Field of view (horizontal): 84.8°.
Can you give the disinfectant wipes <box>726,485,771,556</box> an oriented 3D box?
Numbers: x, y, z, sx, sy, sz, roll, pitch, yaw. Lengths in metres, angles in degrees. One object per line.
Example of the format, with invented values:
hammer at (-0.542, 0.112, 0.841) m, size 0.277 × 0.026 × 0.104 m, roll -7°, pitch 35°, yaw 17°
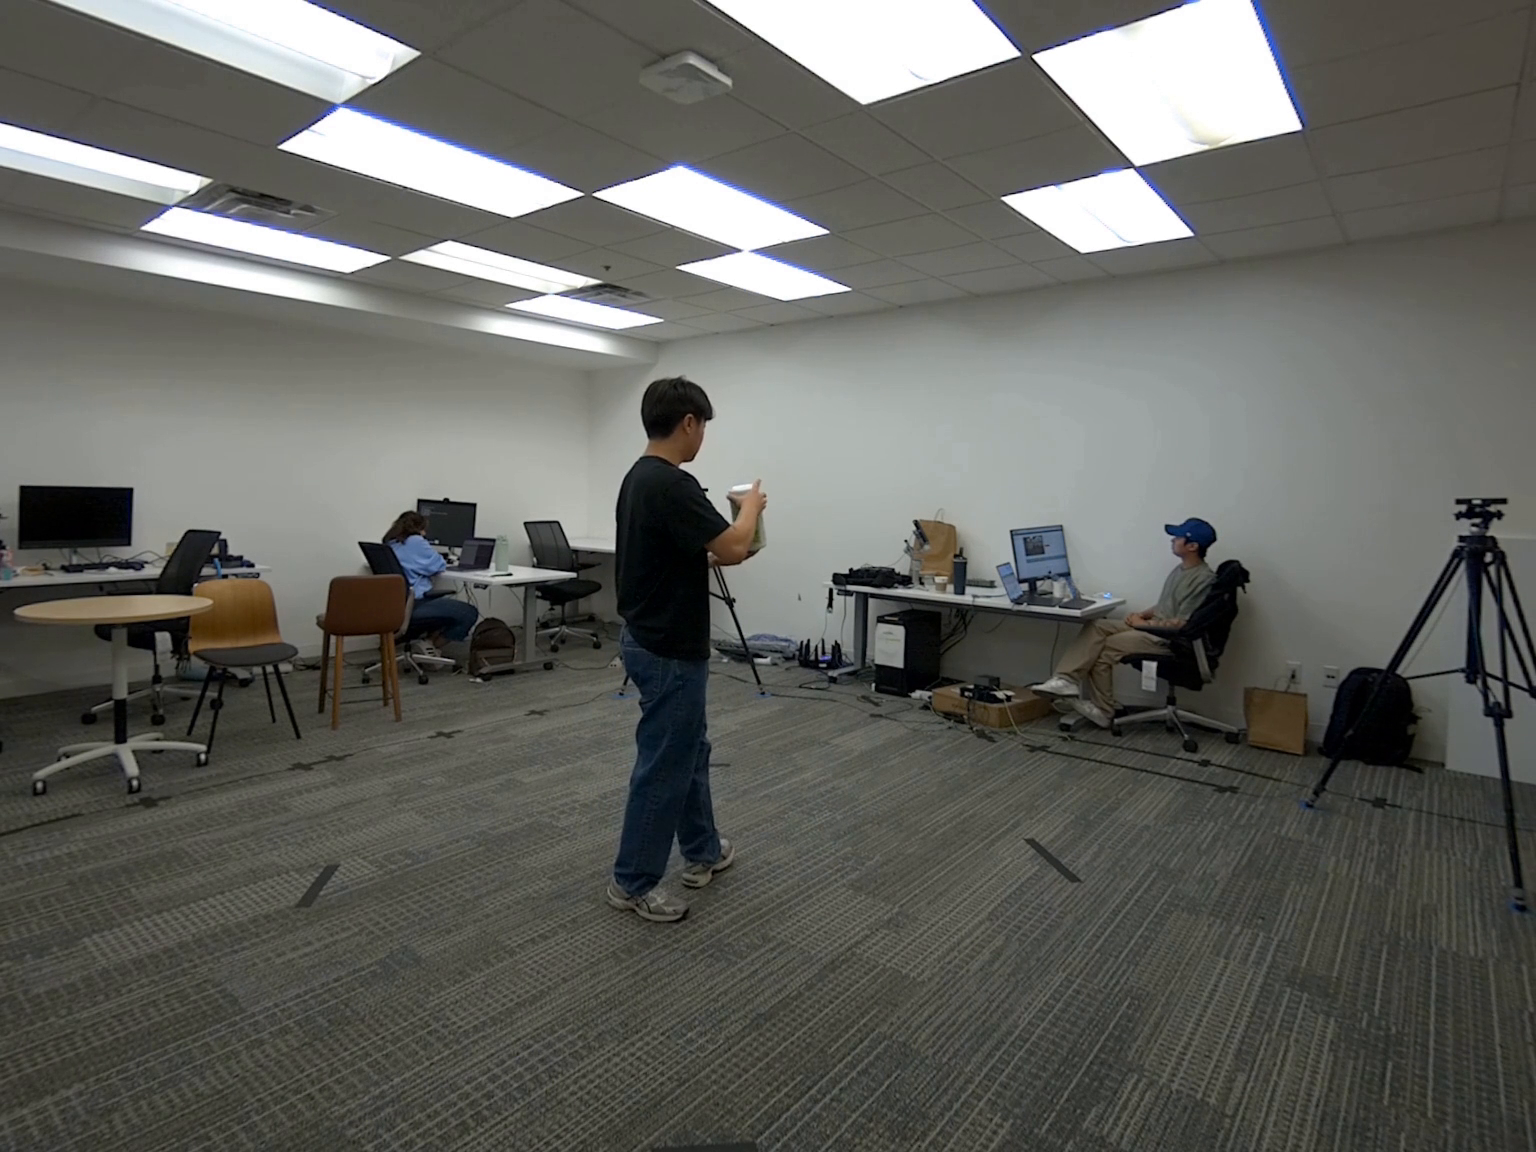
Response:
disinfectant wipes at (-0.070, -0.194, 2.907) m, size 0.118 × 0.215 × 0.119 m, roll -9°, pitch 12°, yaw 0°
